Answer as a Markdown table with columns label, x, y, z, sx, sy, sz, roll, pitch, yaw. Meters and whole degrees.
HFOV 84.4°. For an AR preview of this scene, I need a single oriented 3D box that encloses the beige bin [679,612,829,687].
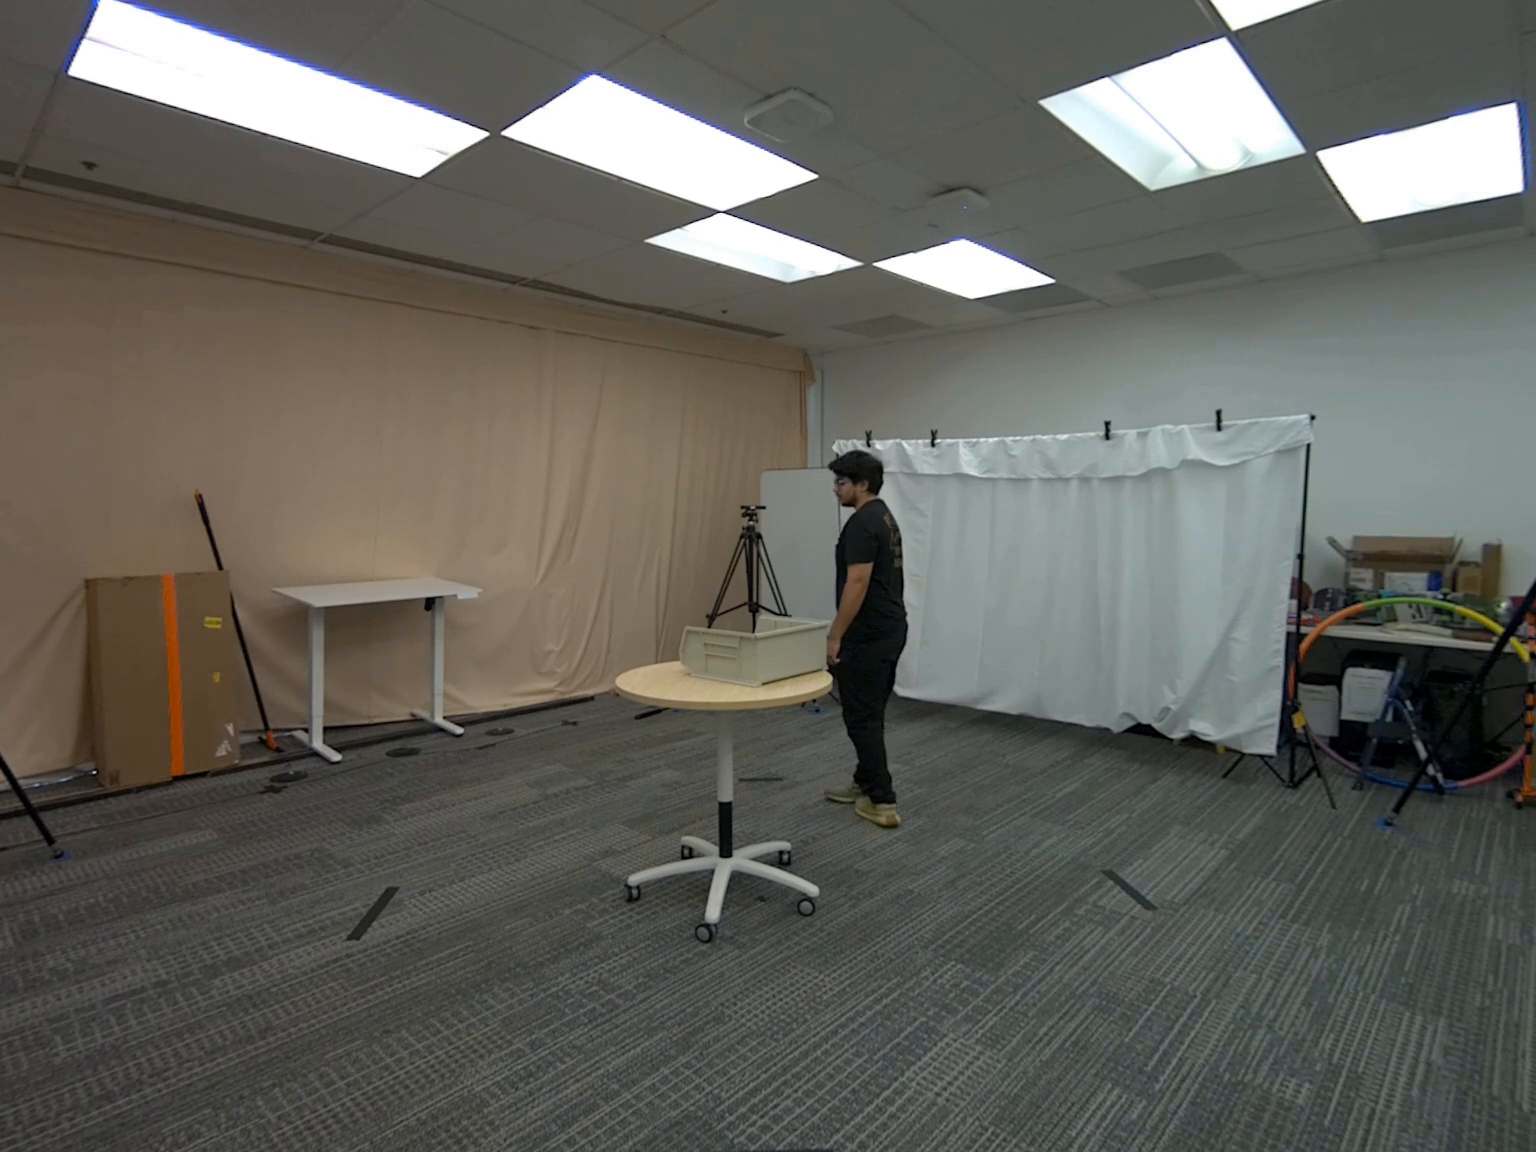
| label | x | y | z | sx | sy | sz | roll | pitch | yaw |
| --- | --- | --- | --- | --- | --- | --- | --- | --- | --- |
| beige bin | -0.044 | 0.263 | 3.065 | 0.390 | 0.188 | 0.409 | 4 | 6 | 42 |
